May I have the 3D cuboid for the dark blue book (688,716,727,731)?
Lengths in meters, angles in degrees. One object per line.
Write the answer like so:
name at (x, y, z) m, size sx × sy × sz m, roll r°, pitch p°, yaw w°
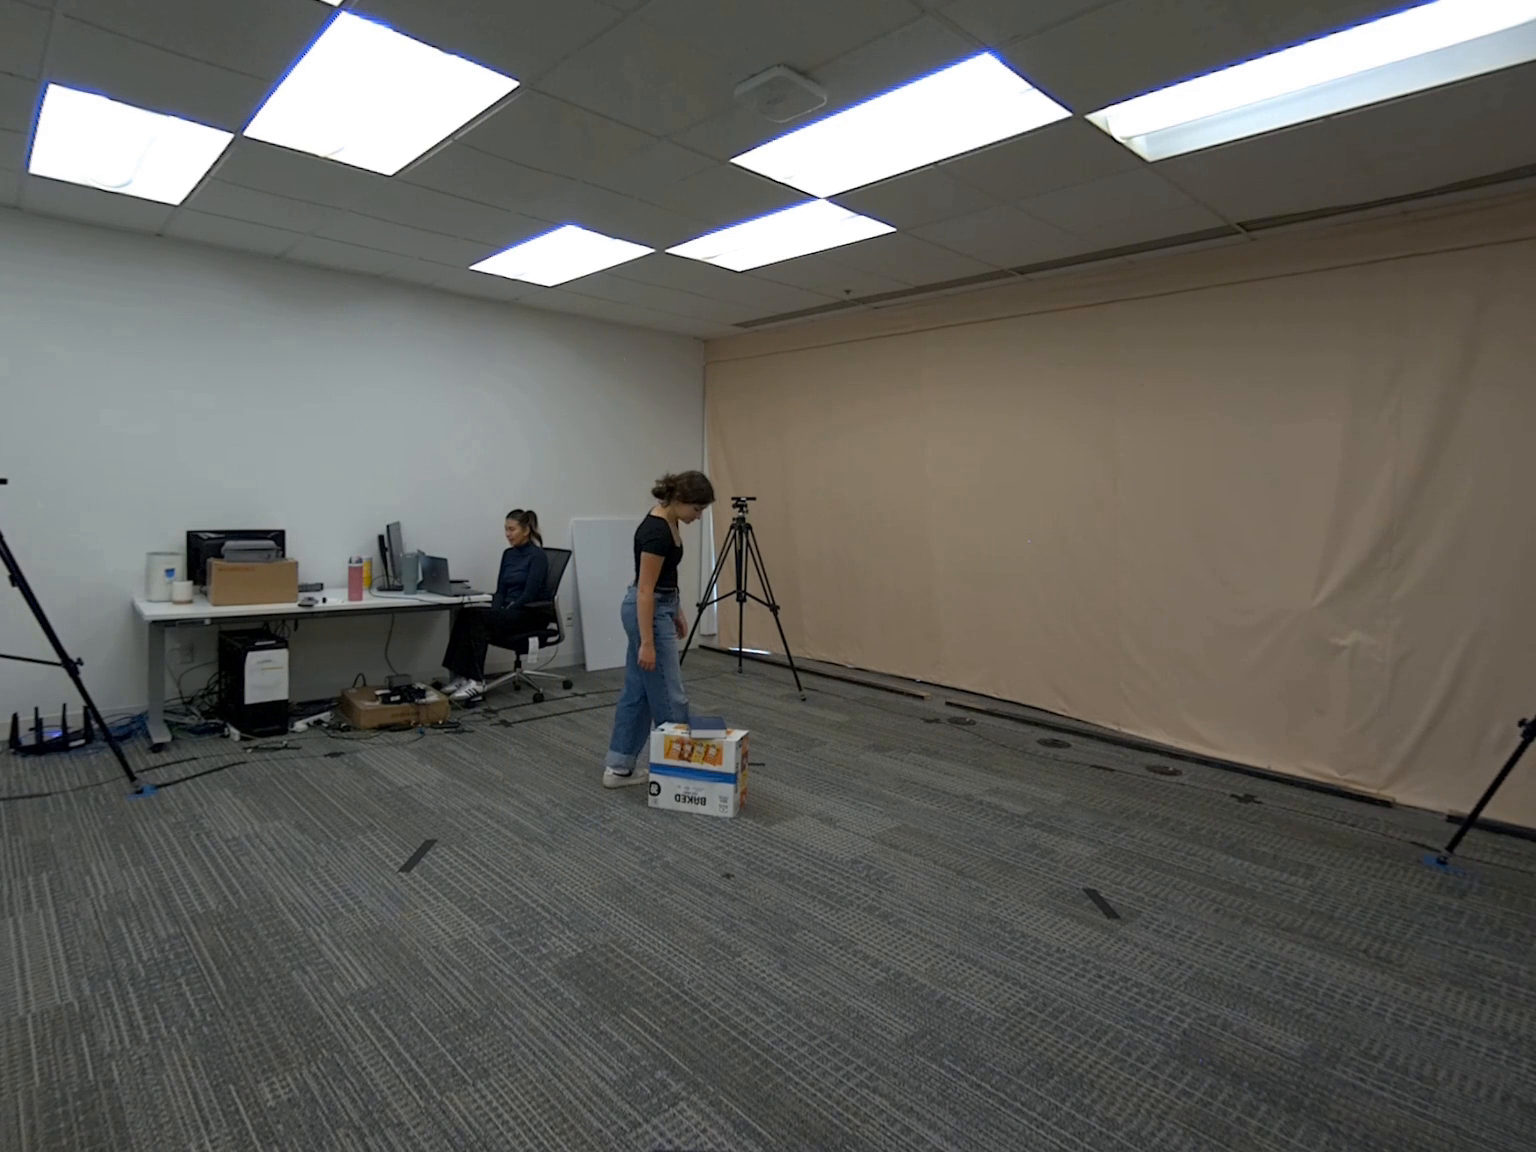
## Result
dark blue book at (-0.285, 0.682, 3.816) m, size 0.162 × 0.045 × 0.247 m, roll 1°, pitch 5°, yaw -8°
